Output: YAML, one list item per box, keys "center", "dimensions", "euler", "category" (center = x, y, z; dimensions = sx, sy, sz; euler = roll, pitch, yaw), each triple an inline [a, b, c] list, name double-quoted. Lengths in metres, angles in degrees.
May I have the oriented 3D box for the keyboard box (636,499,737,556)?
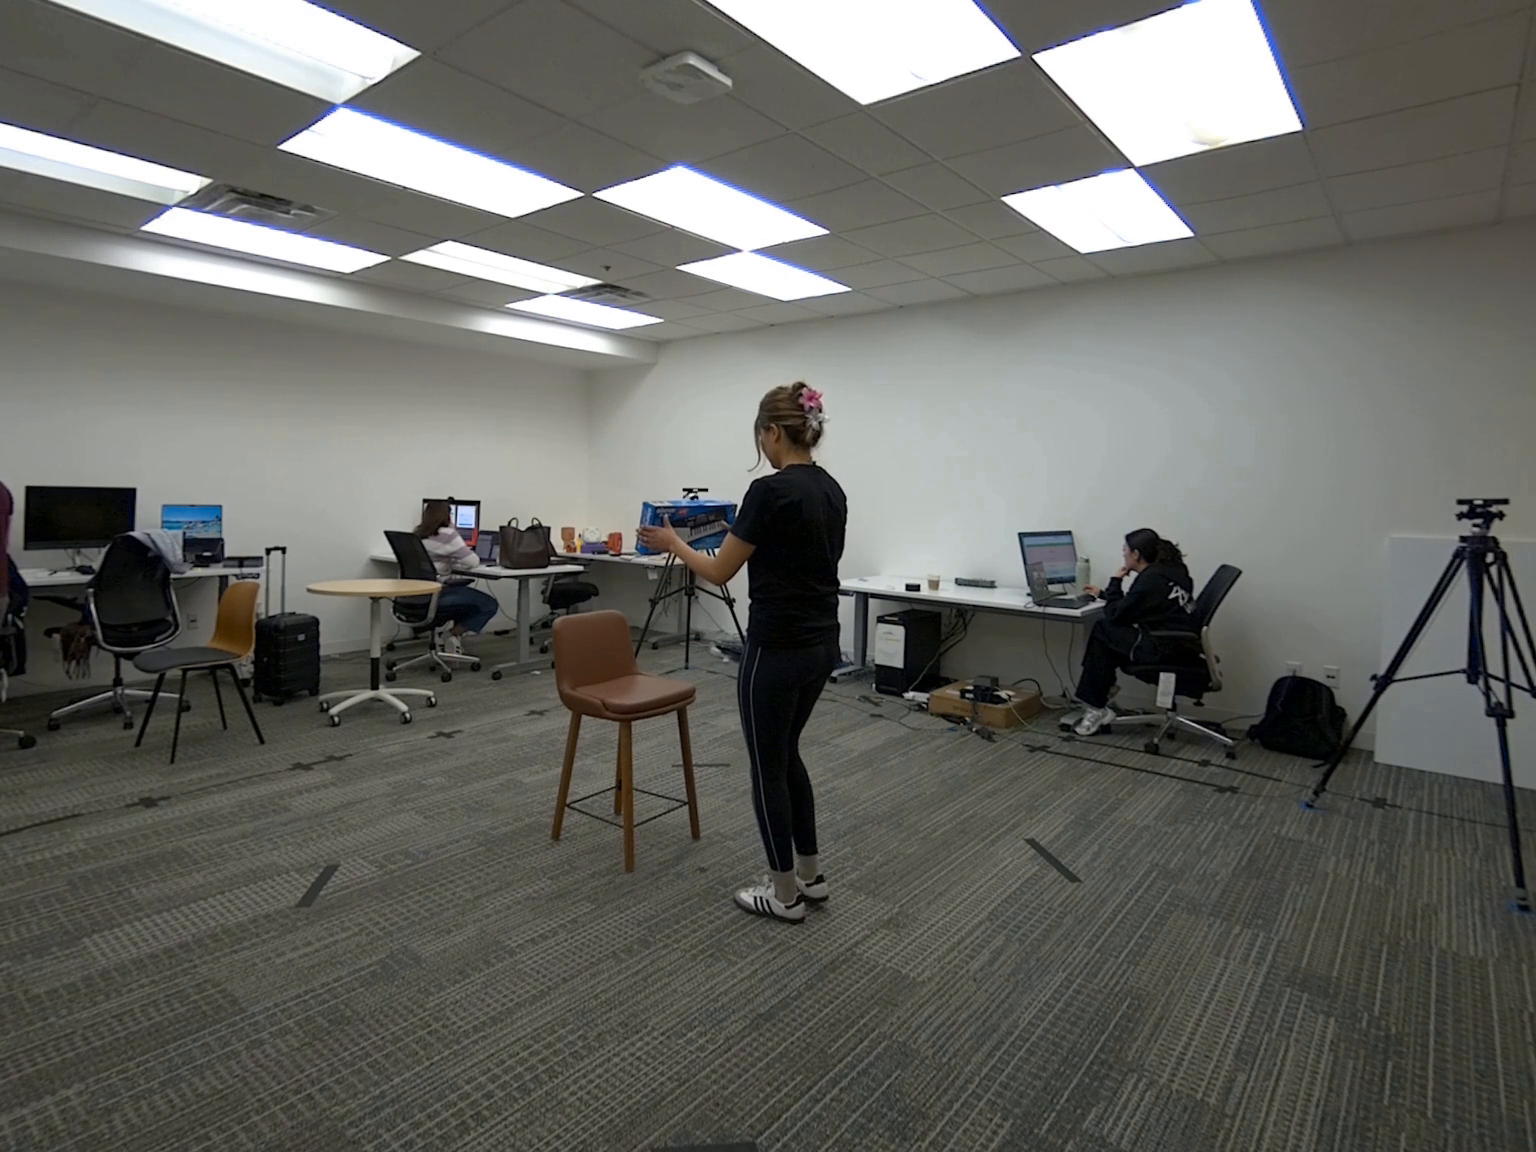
- center: [-0.297, -0.179, 3.029]
  dimensions: [0.061, 0.174, 0.424]
  euler: [20, 17, 35]
  category: "keyboard box"
